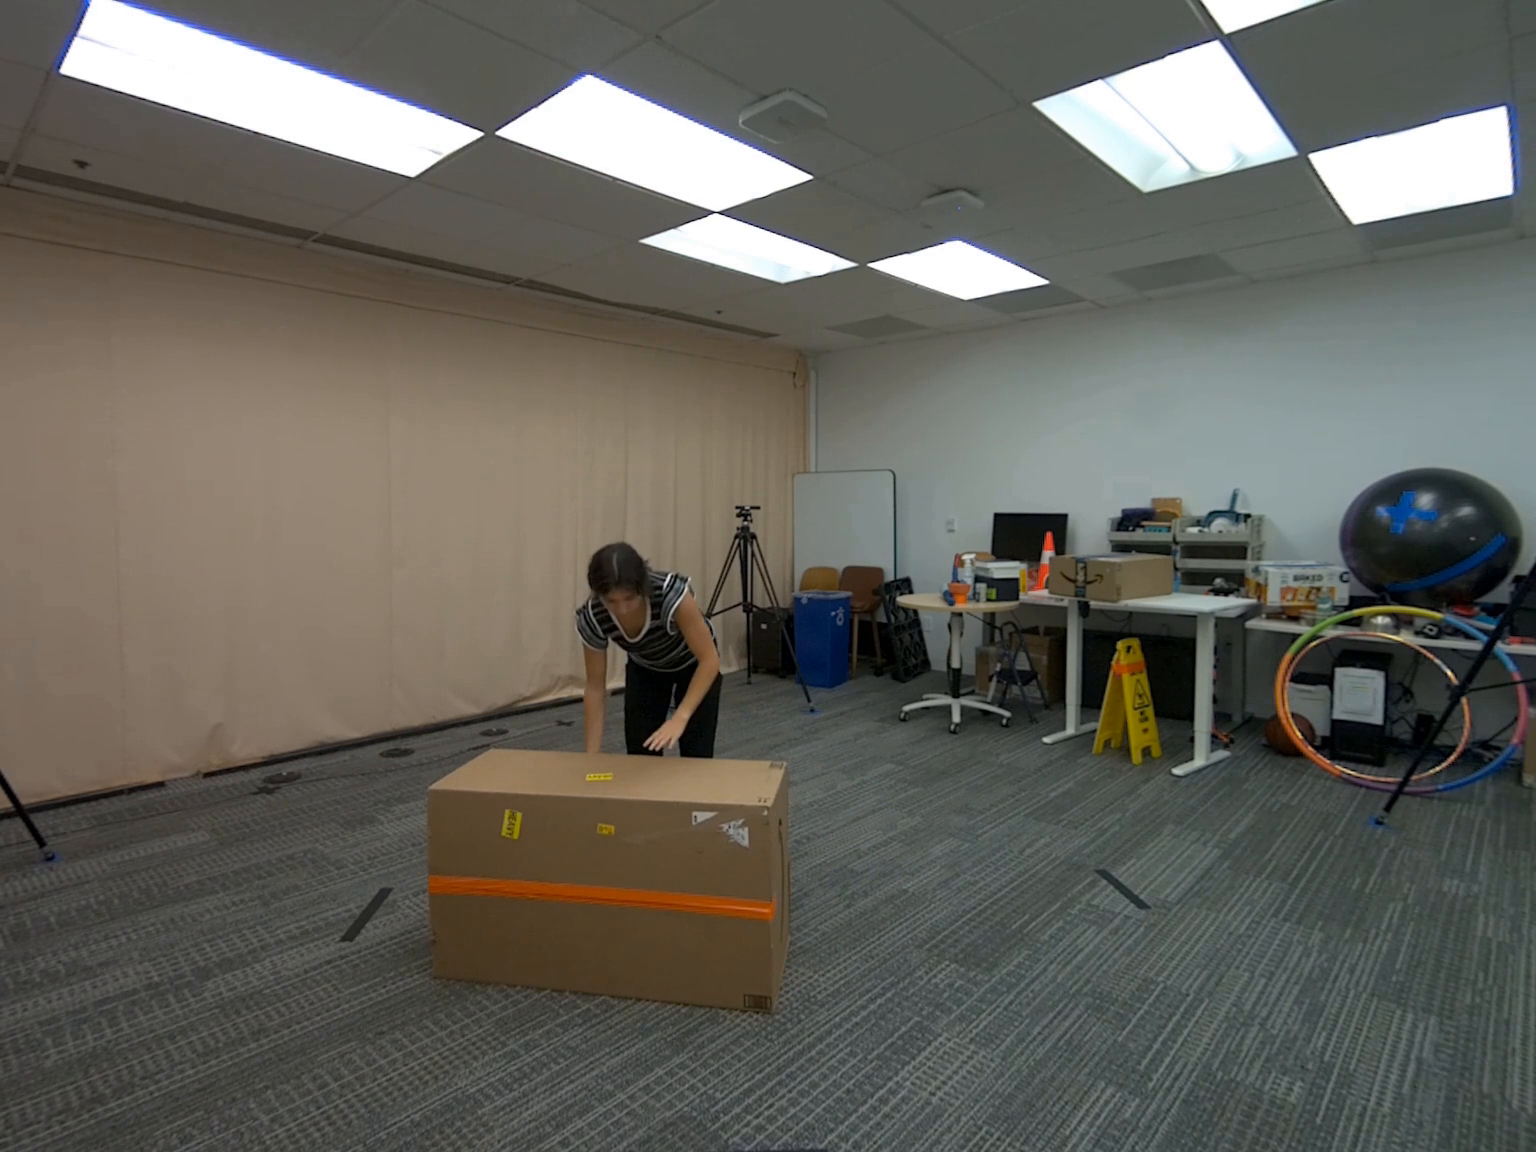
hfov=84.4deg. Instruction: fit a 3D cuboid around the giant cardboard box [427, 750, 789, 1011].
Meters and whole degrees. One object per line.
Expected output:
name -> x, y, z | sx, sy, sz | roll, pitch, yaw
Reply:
giant cardboard box -> -0.465, 0.895, 2.584 | 1.038, 0.576, 0.422 | 0, 3, 10
